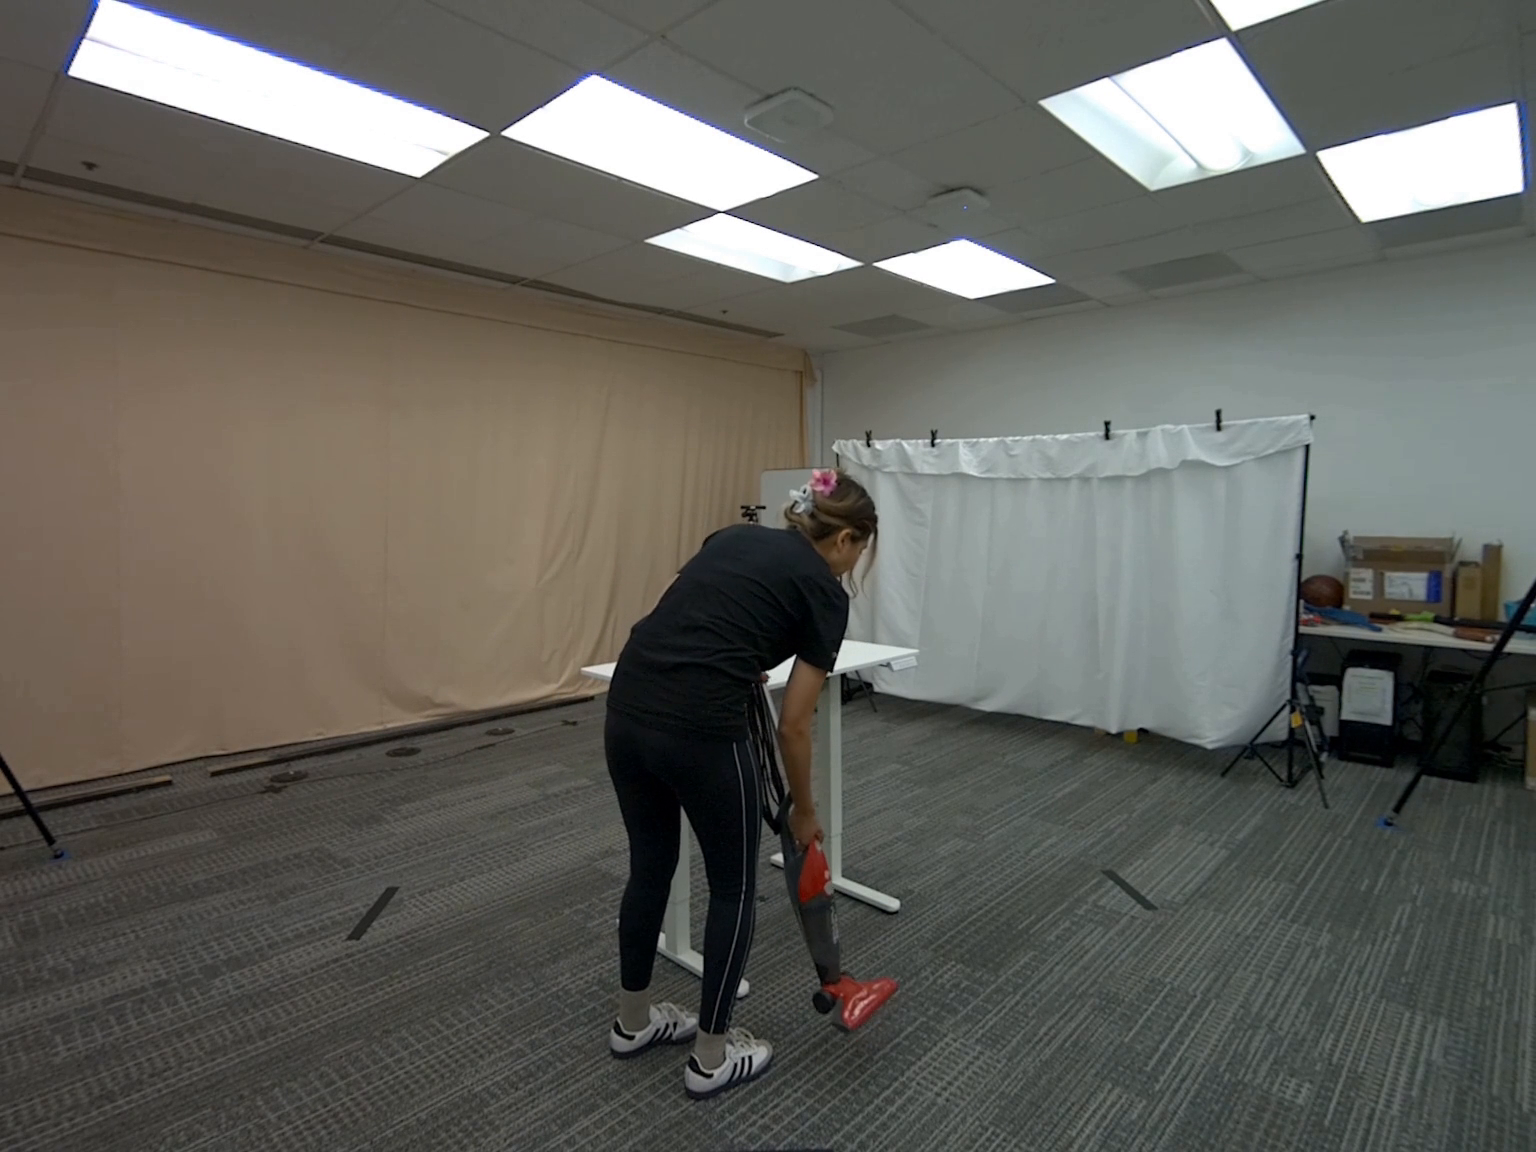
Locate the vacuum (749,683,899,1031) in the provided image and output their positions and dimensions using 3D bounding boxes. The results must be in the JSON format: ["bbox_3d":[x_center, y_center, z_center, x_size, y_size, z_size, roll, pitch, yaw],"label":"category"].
[{"bbox_3d":[0.055,0.582,2.196,0.147,1.061,0.245,-27,-15,34],"label":"vacuum"}]
